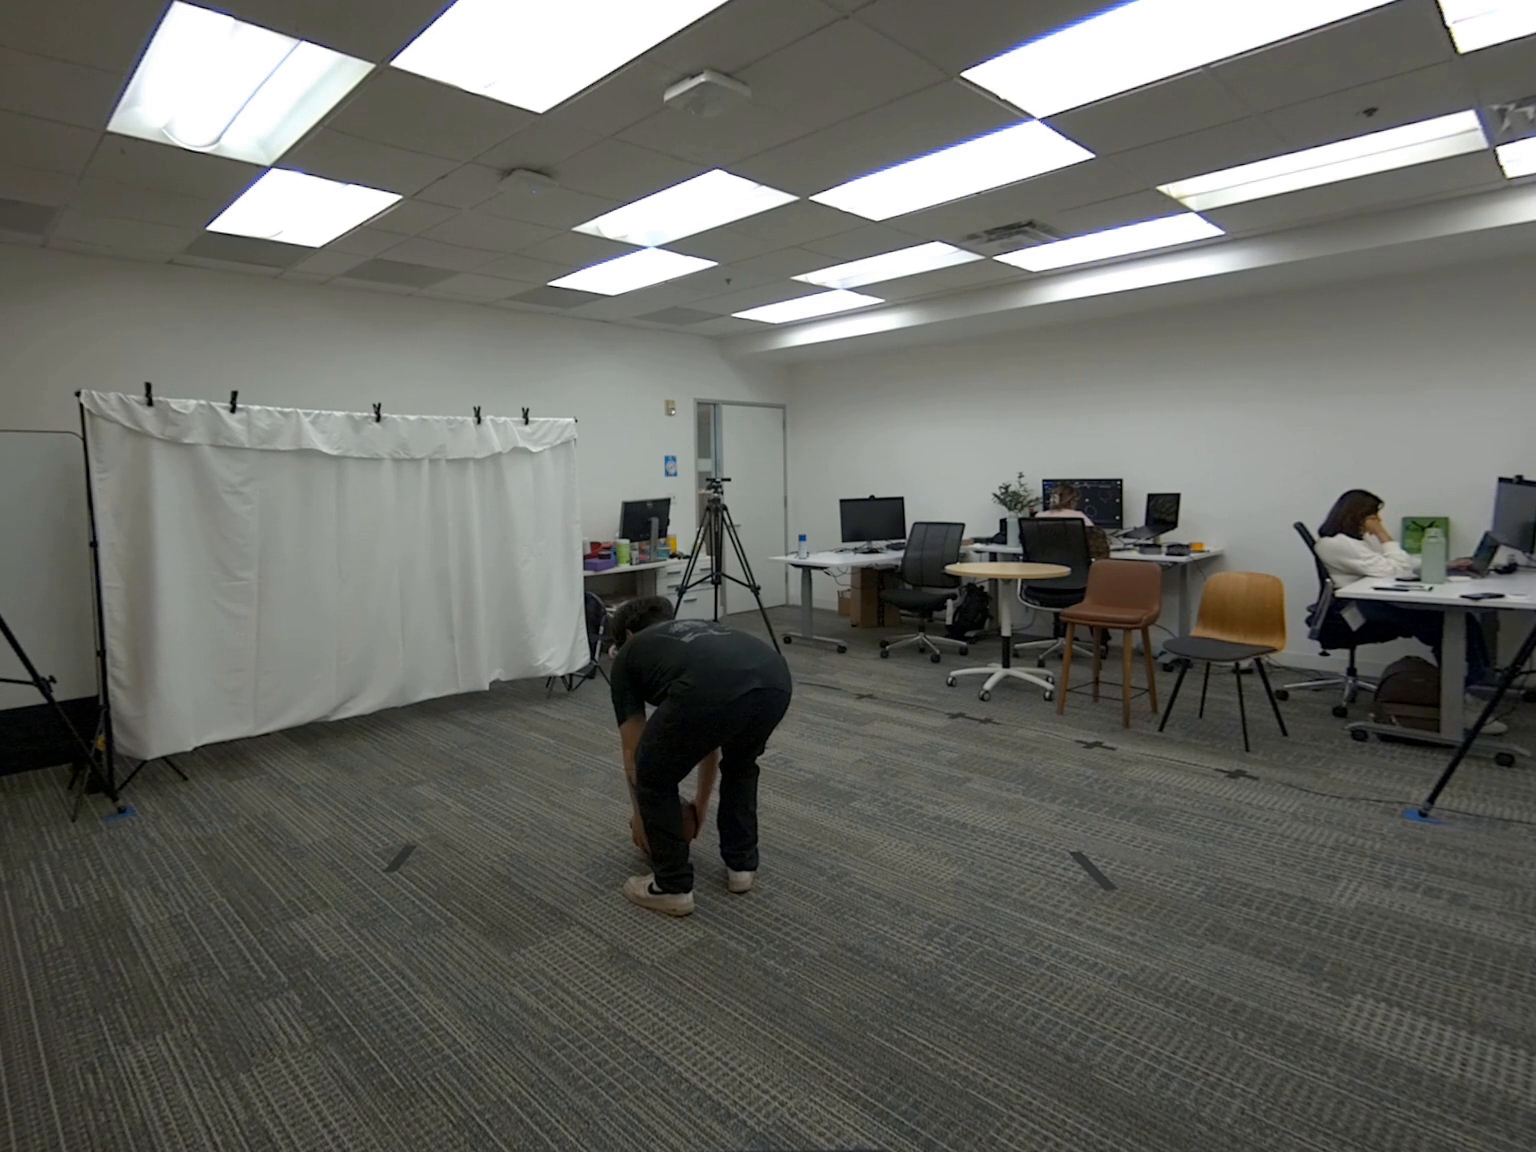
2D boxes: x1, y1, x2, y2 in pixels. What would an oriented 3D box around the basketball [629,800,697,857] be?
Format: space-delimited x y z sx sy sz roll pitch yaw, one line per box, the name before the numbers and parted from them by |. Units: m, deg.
basketball | -0.384 0.927 3.173 0.236 0.235 0.237 -1 5 -2
